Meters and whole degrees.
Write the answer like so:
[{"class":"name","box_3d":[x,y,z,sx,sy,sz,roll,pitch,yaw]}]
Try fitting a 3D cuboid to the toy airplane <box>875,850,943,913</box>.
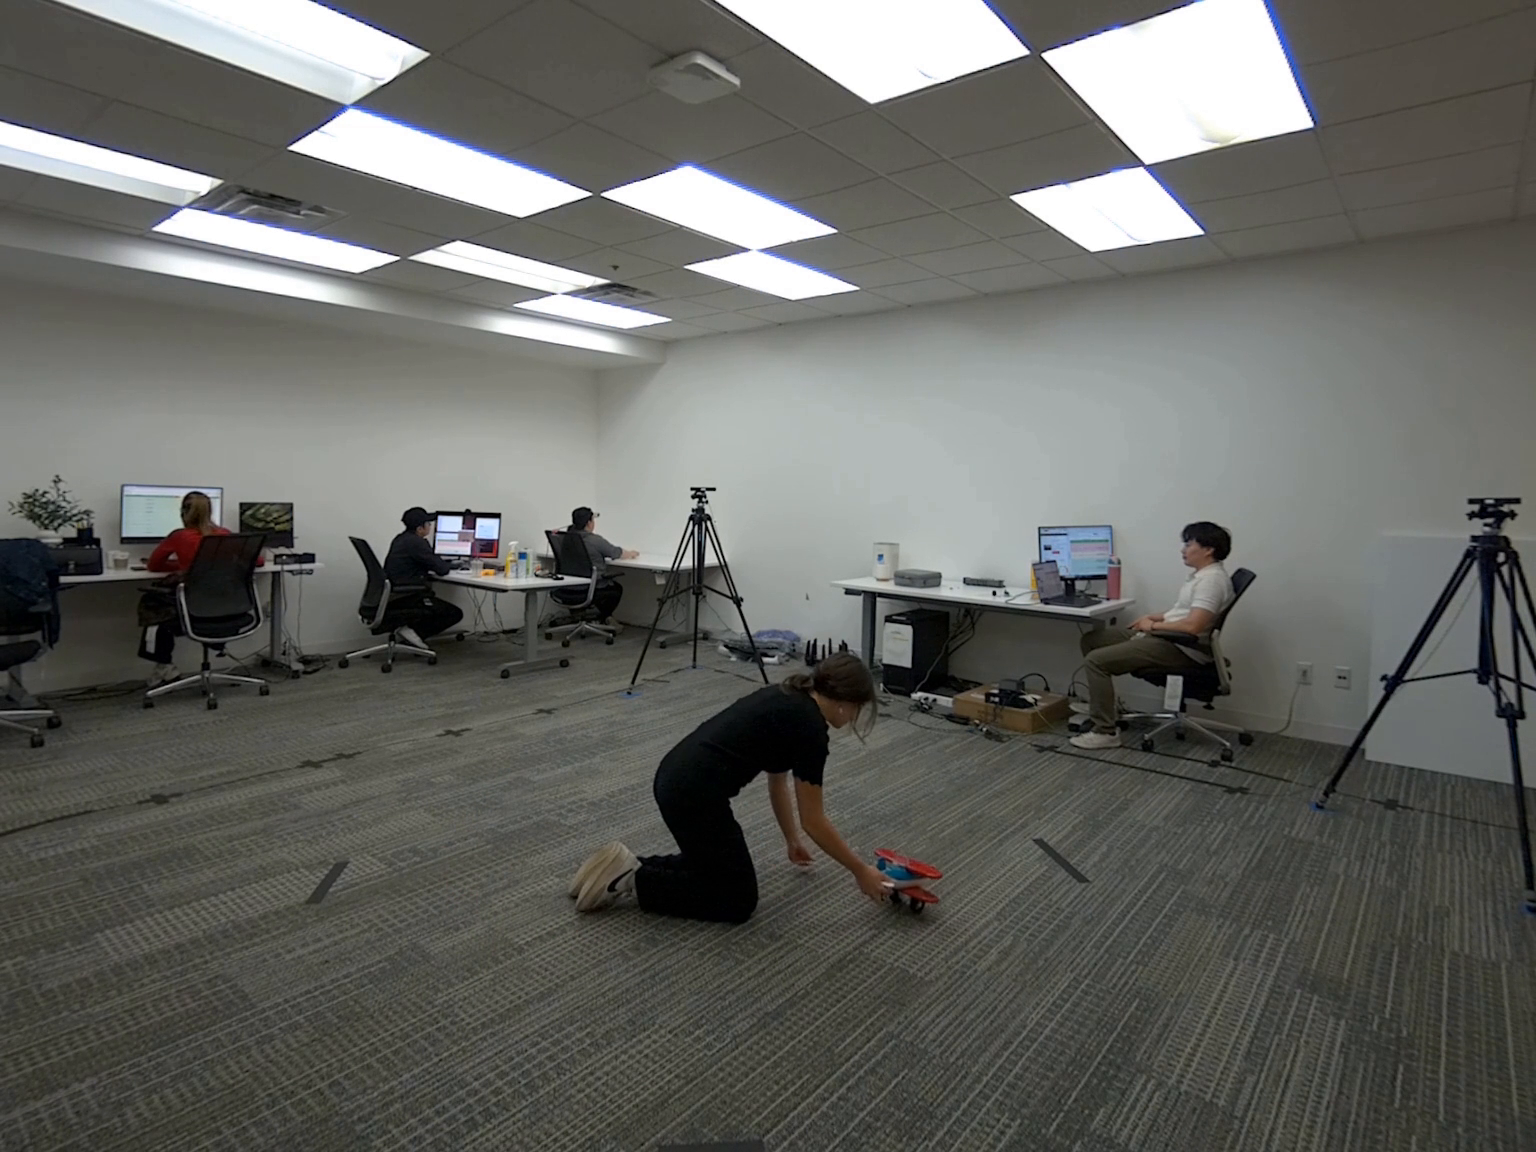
[{"class":"toy airplane","box_3d":[0.437,1.010,2.805,0.258,0.157,0.251,16,-16,20]}]
